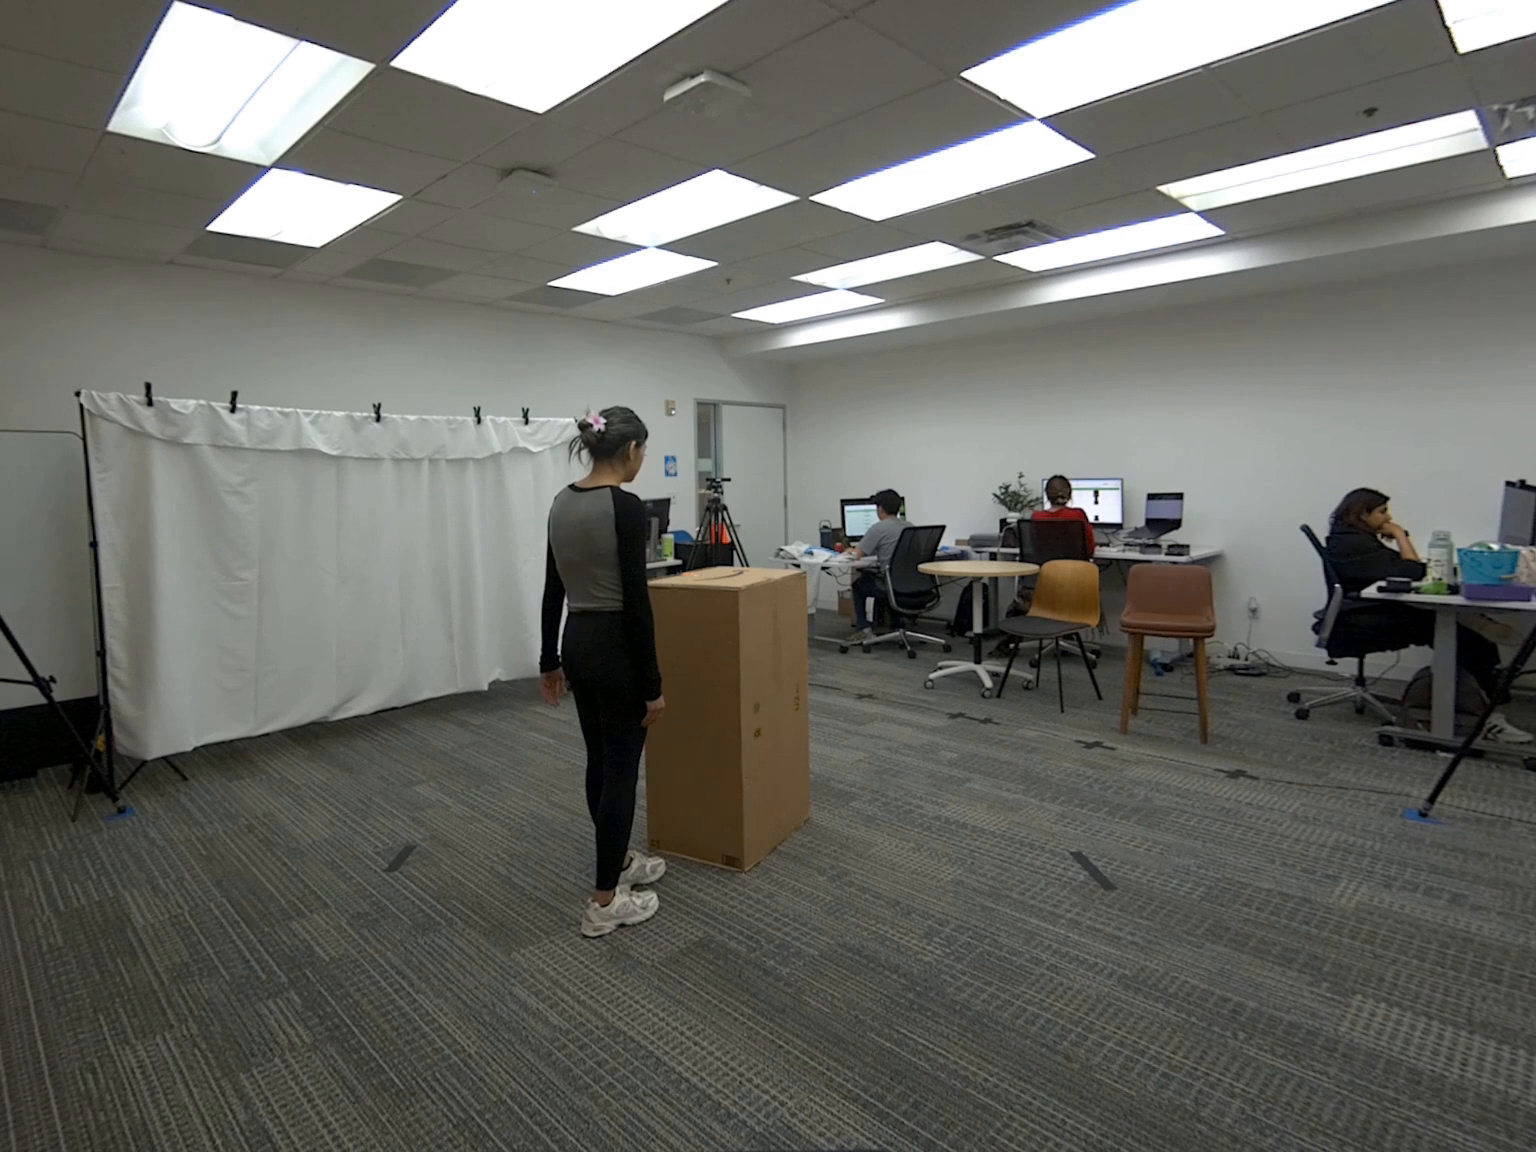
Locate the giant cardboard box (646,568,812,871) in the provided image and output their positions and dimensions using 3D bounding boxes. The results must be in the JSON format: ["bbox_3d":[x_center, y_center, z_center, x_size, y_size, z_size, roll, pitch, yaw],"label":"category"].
[{"bbox_3d":[-0.151,0.511,3.339,0.458,1.022,0.572,2,6,28],"label":"giant cardboard box"}]
